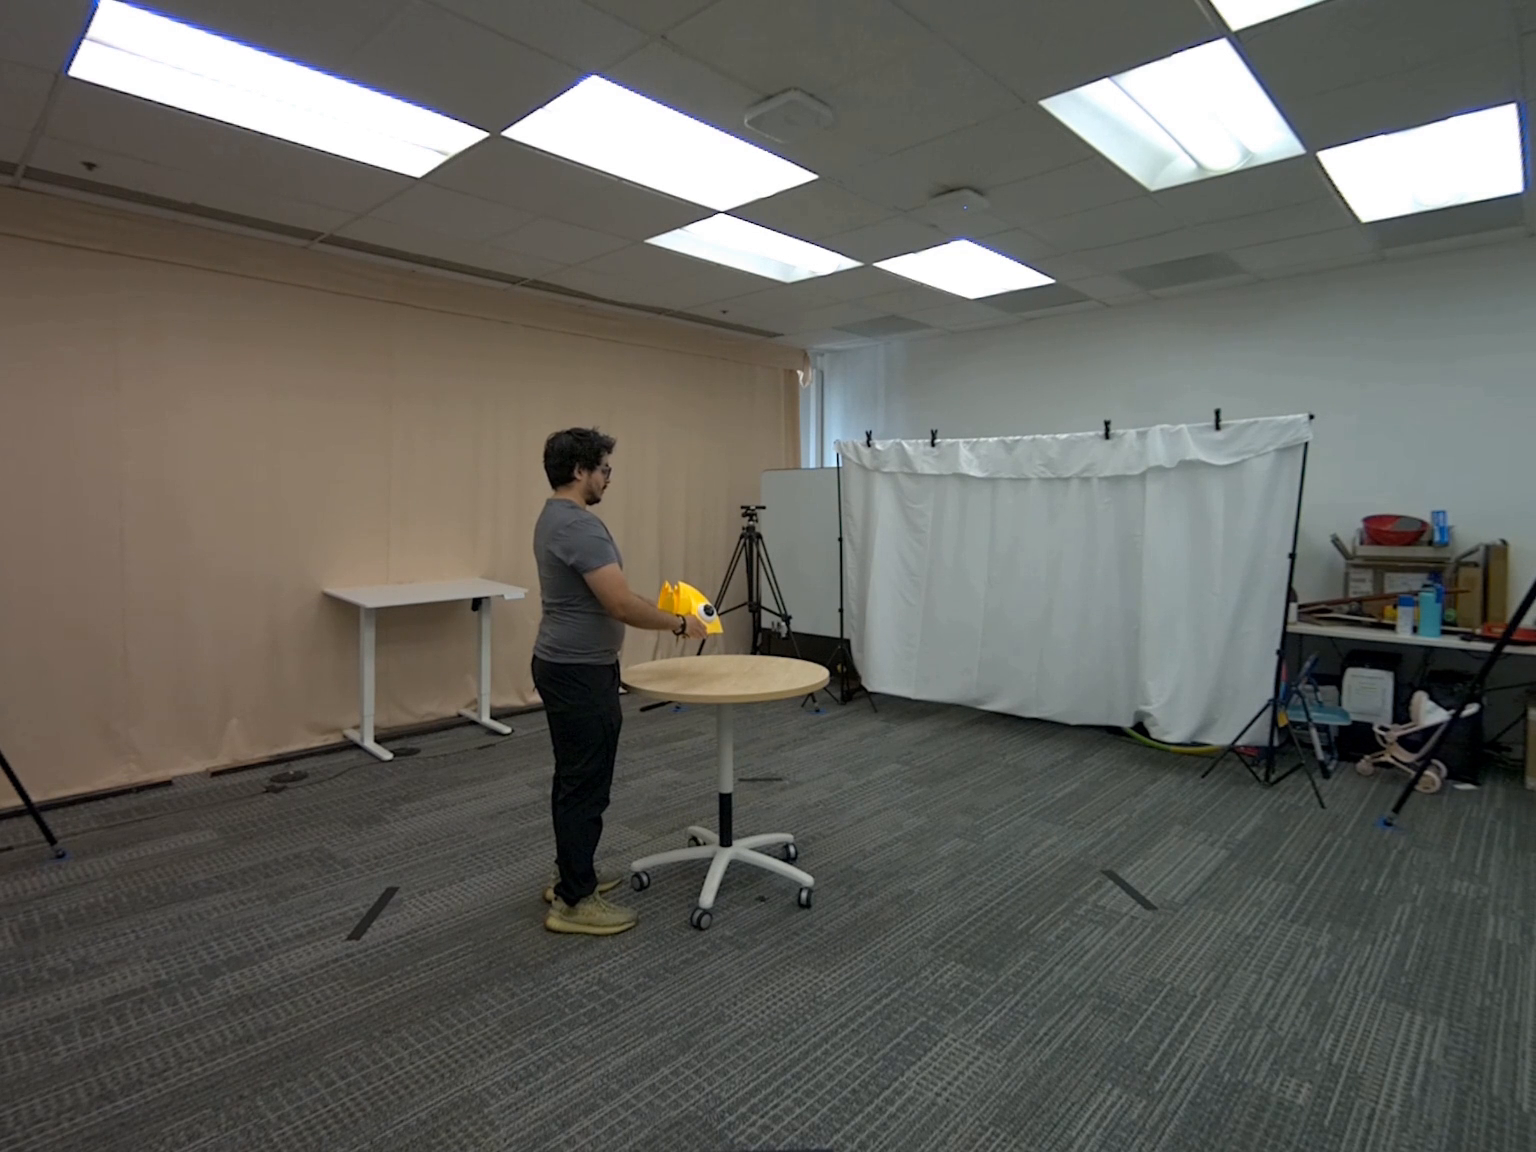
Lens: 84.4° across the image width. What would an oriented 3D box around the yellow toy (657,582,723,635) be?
[{"bbox_3d":[-0.258,0.130,3.026,0.225,0.193,0.210,11,-3,-24],"label":"yellow toy"}]
